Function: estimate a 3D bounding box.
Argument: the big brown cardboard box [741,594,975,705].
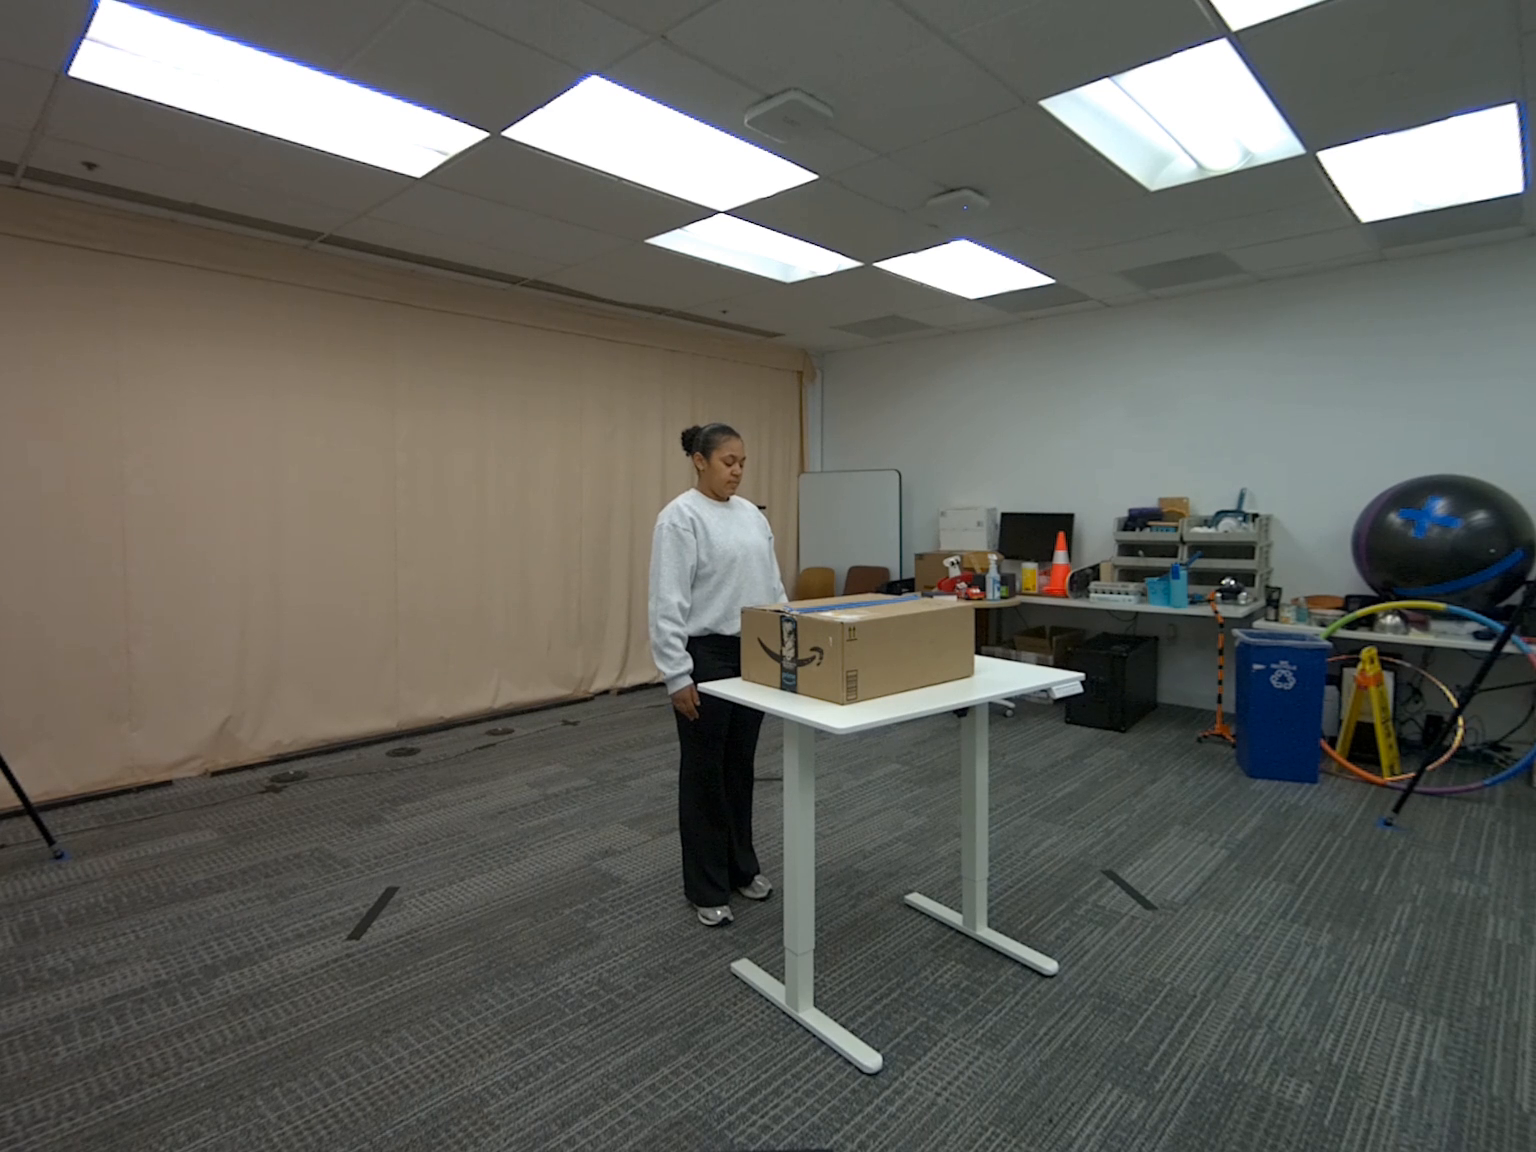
[{"bbox_3d":[0.262,0.193,2.481,0.571,0.232,0.431,-3,5,-39],"label":"big brown cardboard box"}]
